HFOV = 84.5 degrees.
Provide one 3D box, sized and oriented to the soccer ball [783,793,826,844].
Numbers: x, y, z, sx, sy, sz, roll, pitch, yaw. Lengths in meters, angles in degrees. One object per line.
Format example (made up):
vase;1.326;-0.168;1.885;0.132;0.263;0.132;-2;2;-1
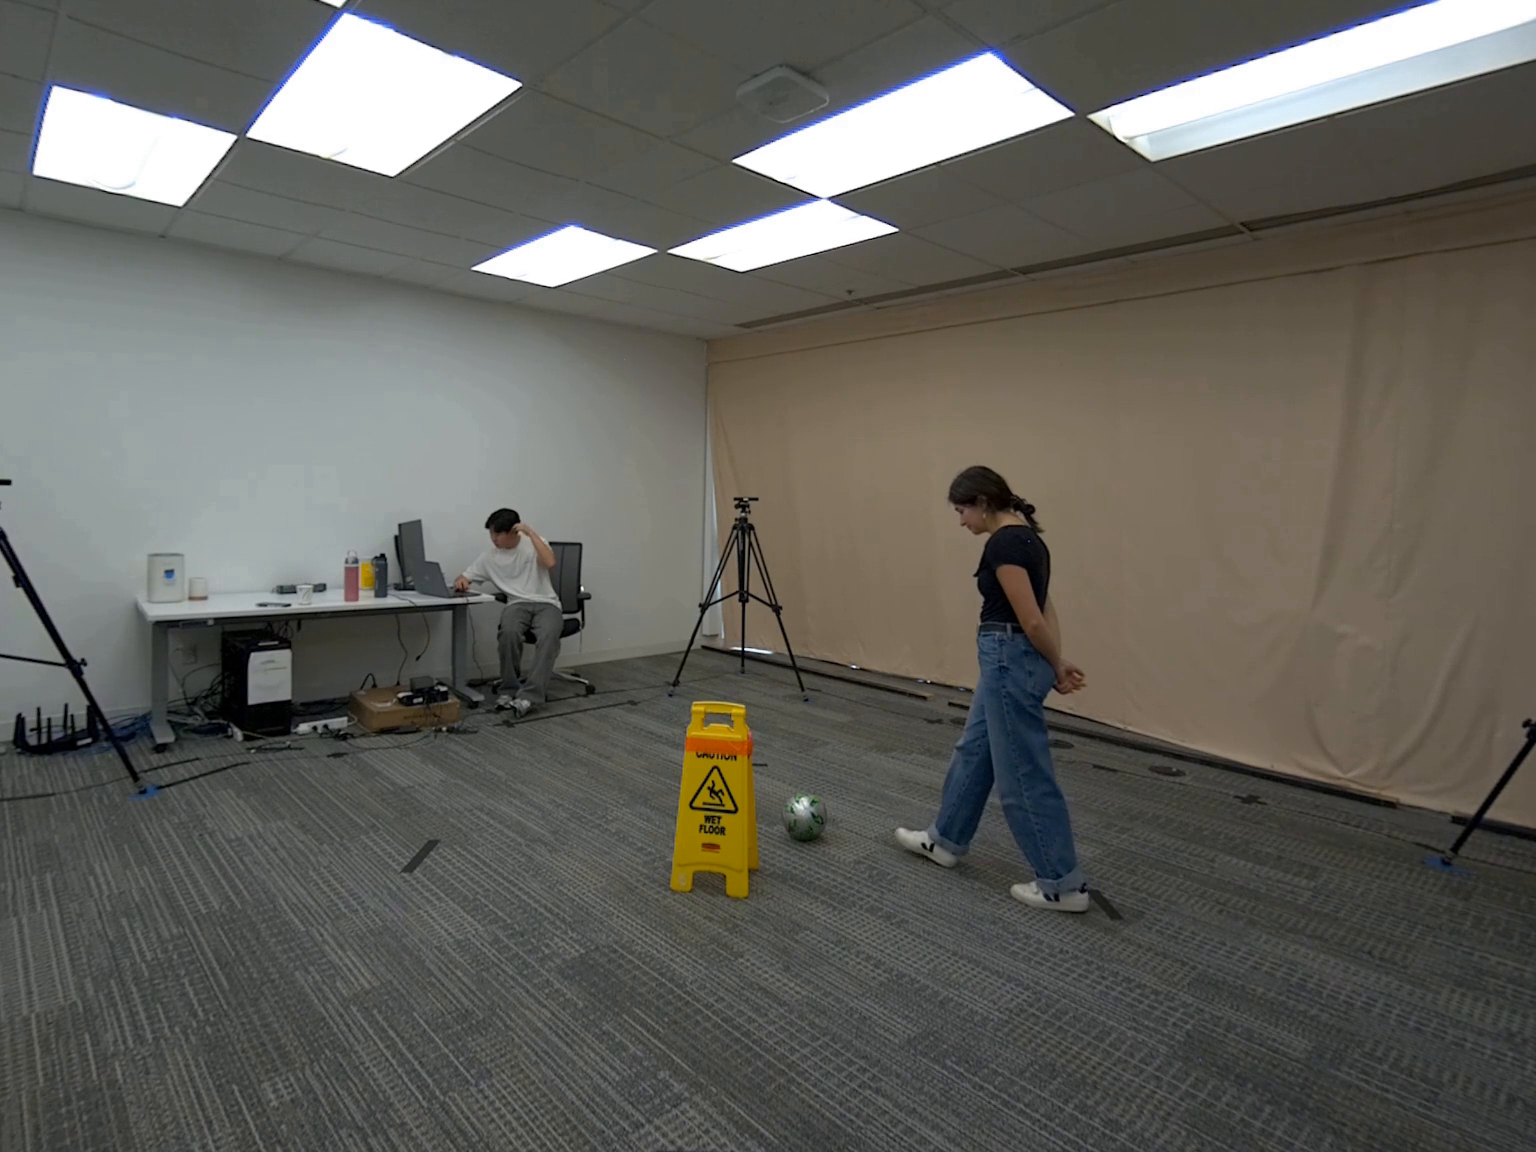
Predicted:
soccer ball;0.141;0.988;3.460;0.187;0.187;0.188;1;4;-1
